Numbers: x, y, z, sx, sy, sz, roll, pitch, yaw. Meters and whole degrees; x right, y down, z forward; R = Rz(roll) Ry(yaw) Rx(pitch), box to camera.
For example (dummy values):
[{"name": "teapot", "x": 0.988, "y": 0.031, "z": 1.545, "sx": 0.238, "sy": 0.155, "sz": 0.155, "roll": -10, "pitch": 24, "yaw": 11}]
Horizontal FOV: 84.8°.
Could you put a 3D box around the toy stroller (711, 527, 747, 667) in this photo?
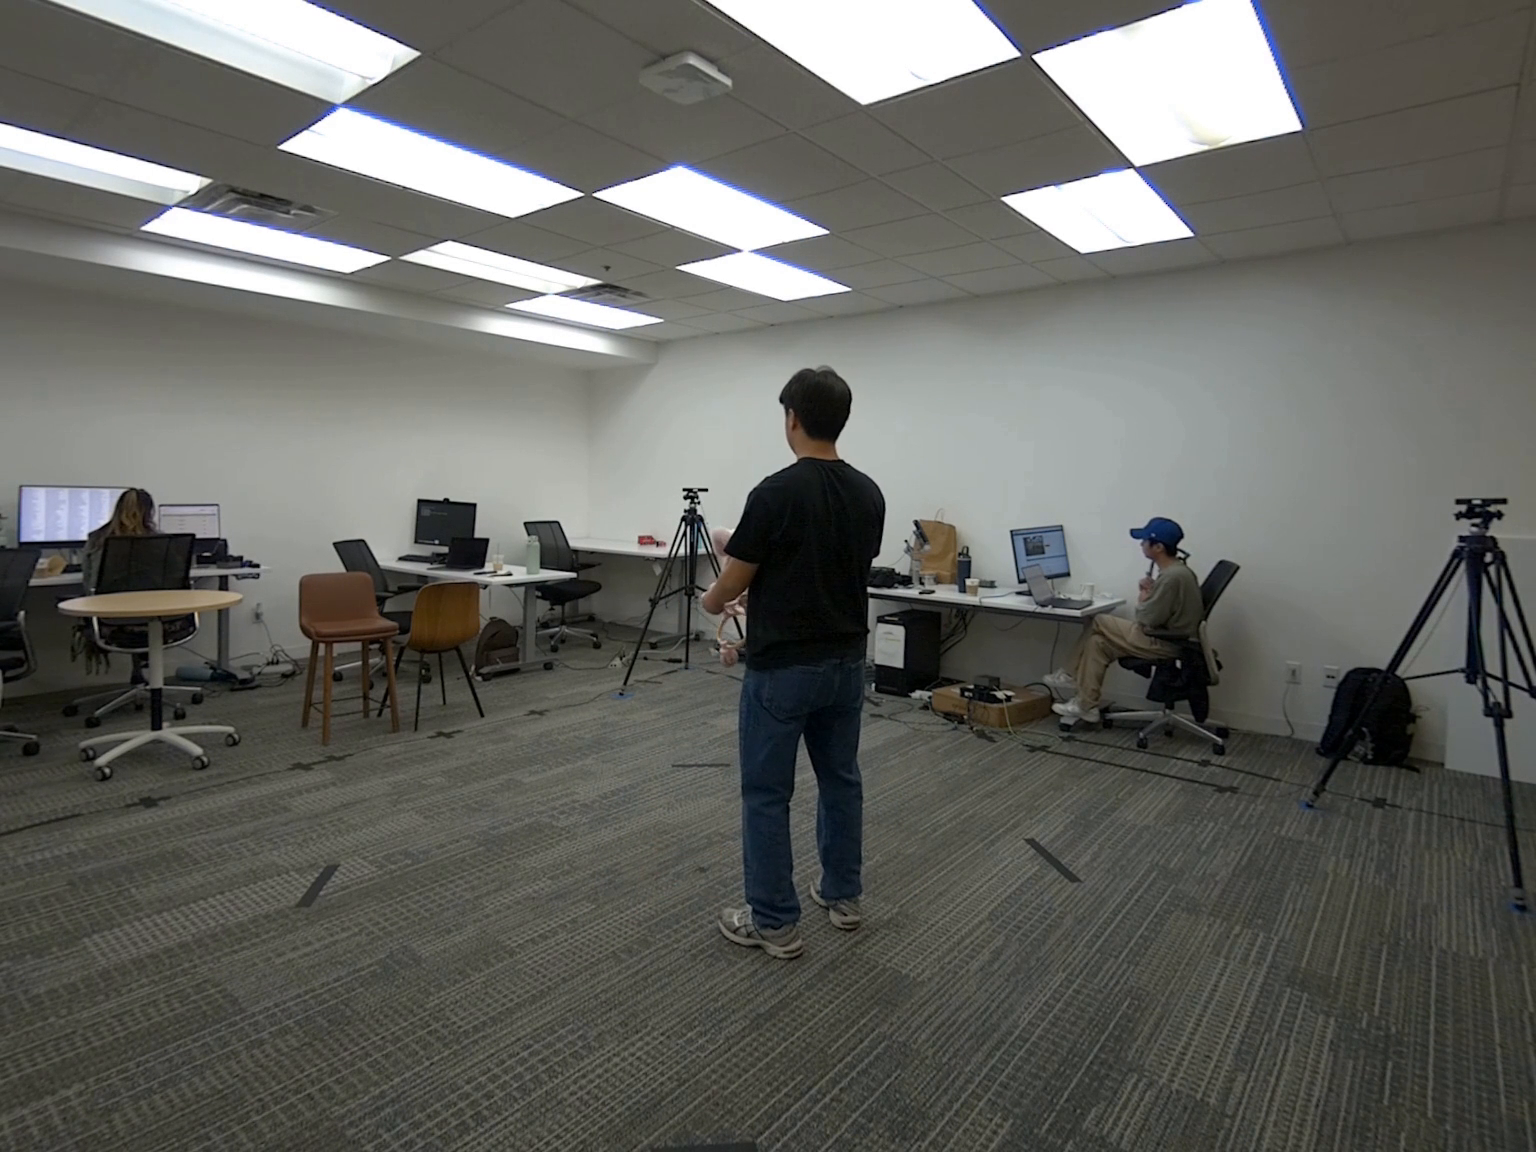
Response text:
[{"name": "toy stroller", "x": -0.100, "y": 0.036, "z": 3.028, "sx": 0.336, "sy": 0.524, "sz": 0.291, "roll": -20, "pitch": 19, "yaw": -23}]
